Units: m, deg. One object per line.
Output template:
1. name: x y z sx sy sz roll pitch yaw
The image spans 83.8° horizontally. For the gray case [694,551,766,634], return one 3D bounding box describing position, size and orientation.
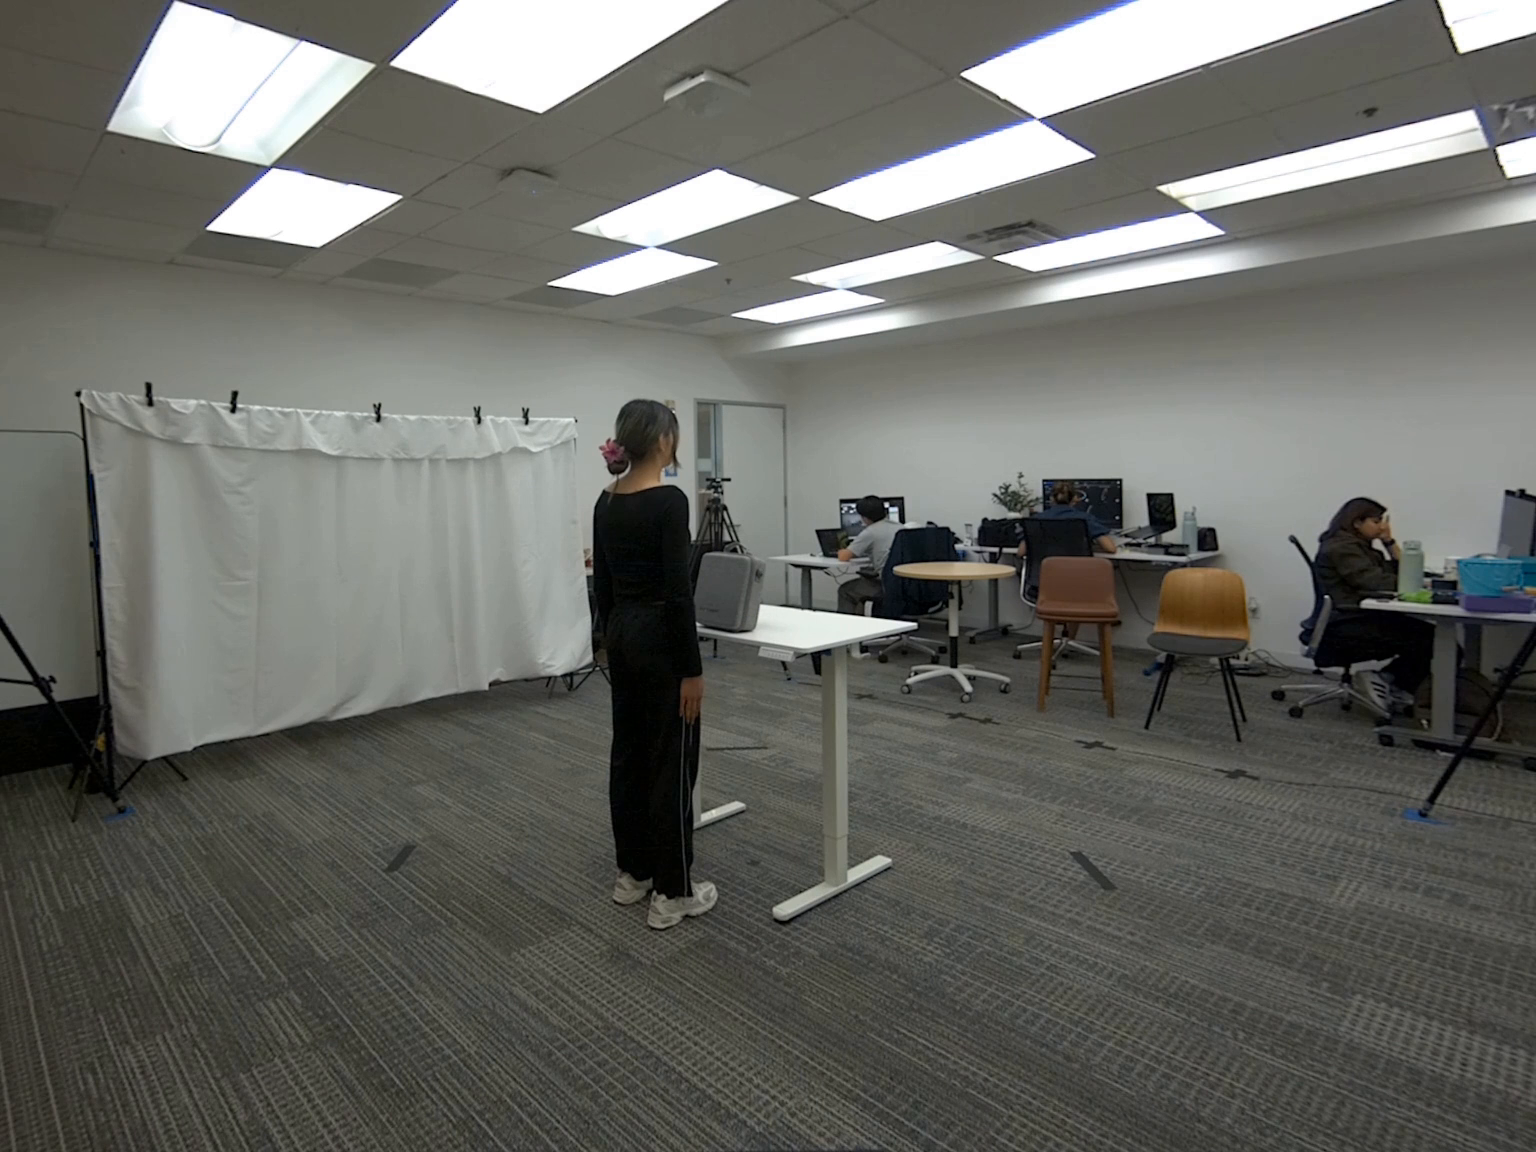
1. gray case: -0.136 0.048 2.925 0.101 0.261 0.265 11 -4 -38
